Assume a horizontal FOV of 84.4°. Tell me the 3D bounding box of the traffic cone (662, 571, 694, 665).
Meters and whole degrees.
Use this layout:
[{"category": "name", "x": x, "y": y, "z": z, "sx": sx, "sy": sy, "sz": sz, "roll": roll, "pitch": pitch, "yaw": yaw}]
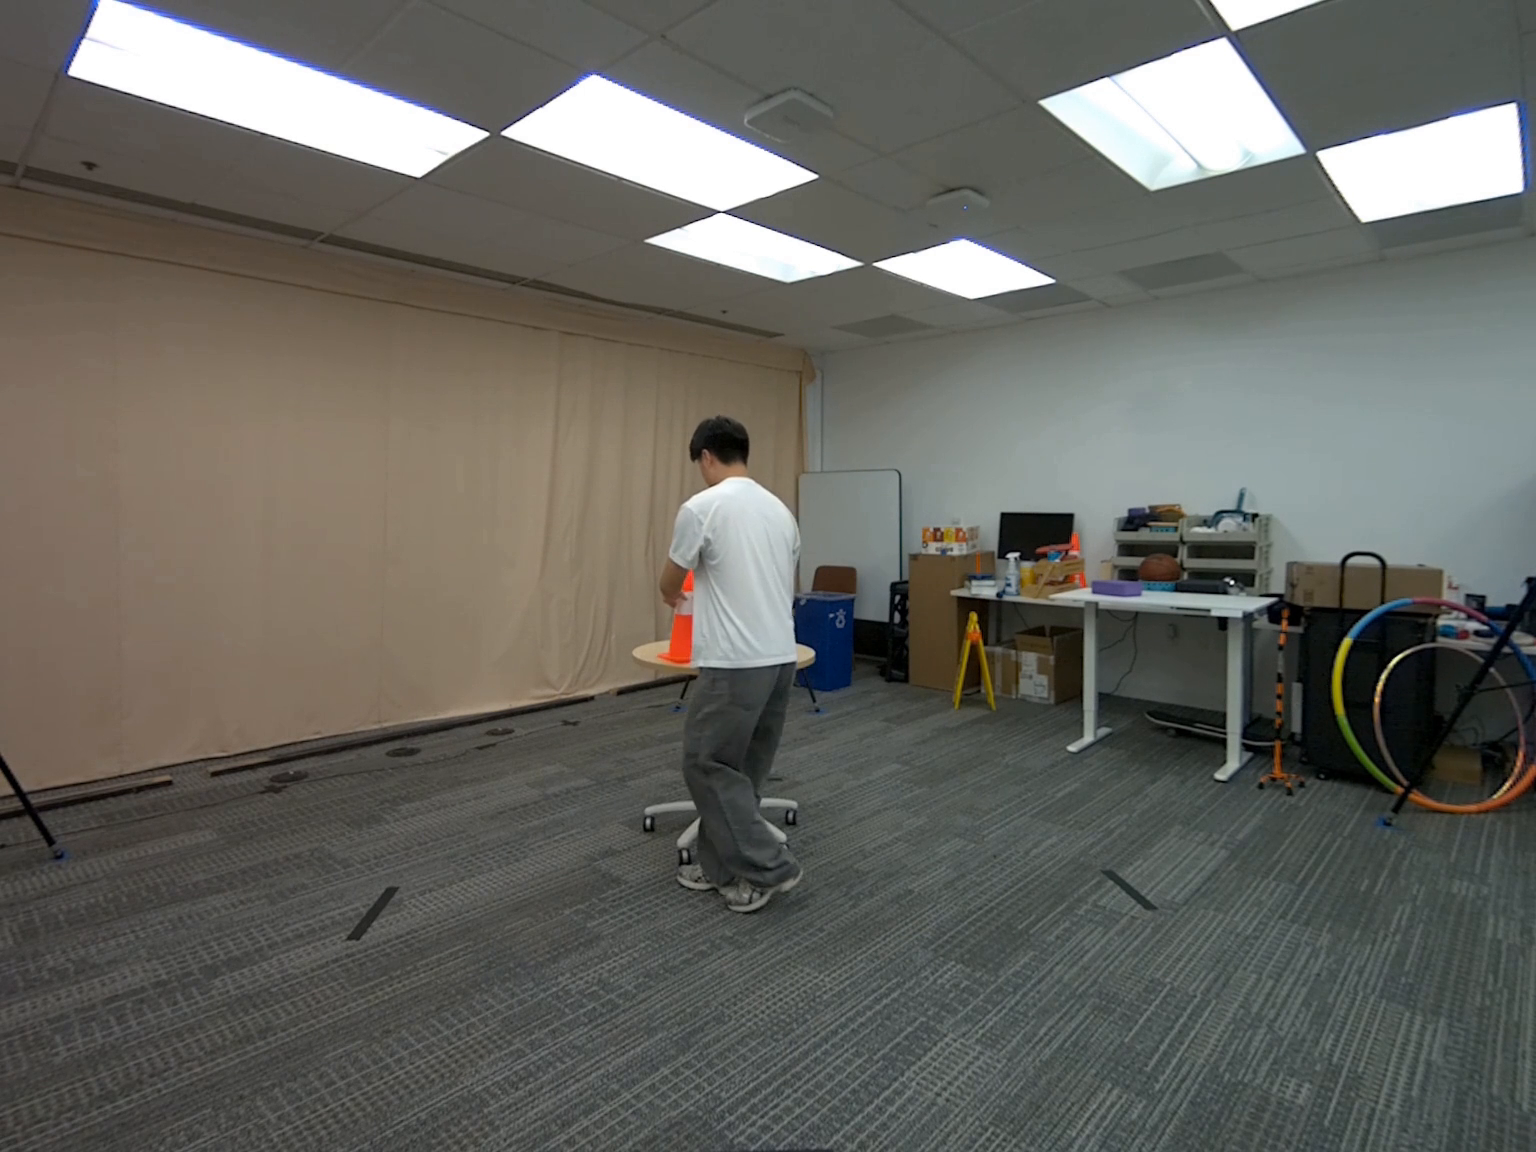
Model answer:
[{"category": "traffic cone", "x": -0.308, "y": 0.125, "z": 3.351, "sx": 0.198, "sy": 0.383, "sz": 0.210, "roll": 0, "pitch": 4, "yaw": -41}]
